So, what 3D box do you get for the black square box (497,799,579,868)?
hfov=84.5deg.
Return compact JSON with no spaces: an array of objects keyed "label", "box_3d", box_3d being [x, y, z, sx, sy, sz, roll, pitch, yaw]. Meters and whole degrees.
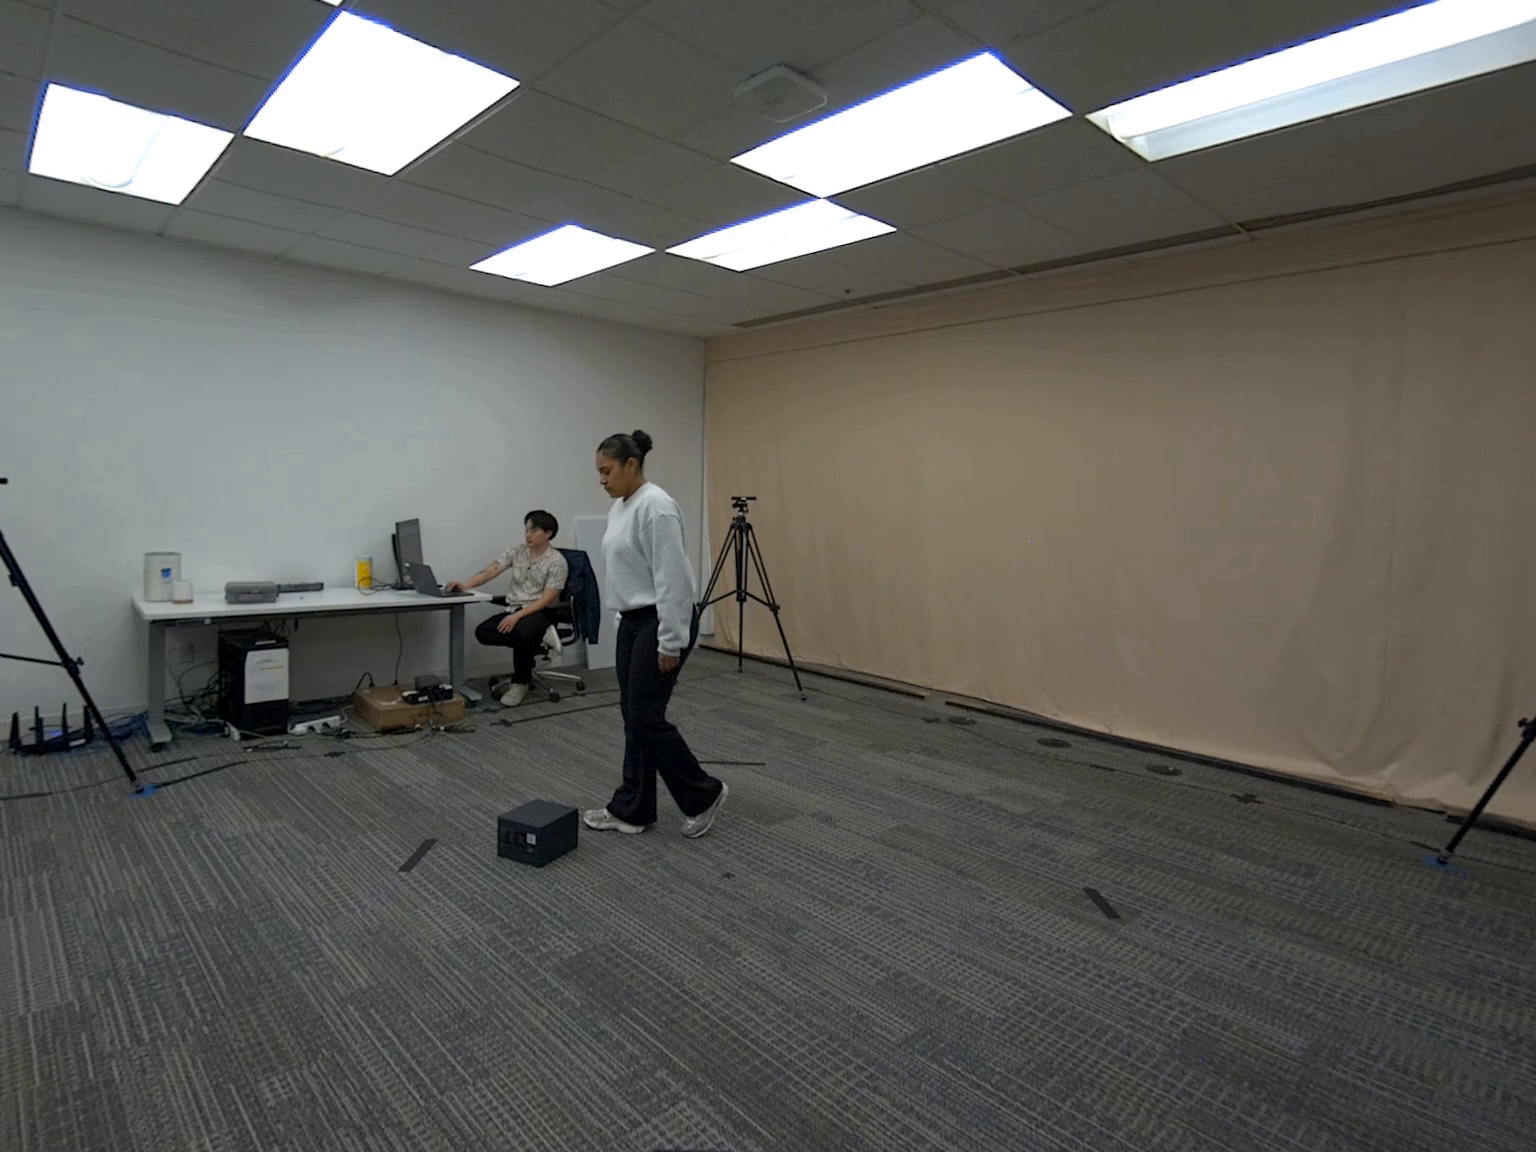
[{"label":"black square box","box_3d":[-0.901,0.992,3.268,0.221,0.155,0.224,3,5,26]}]
